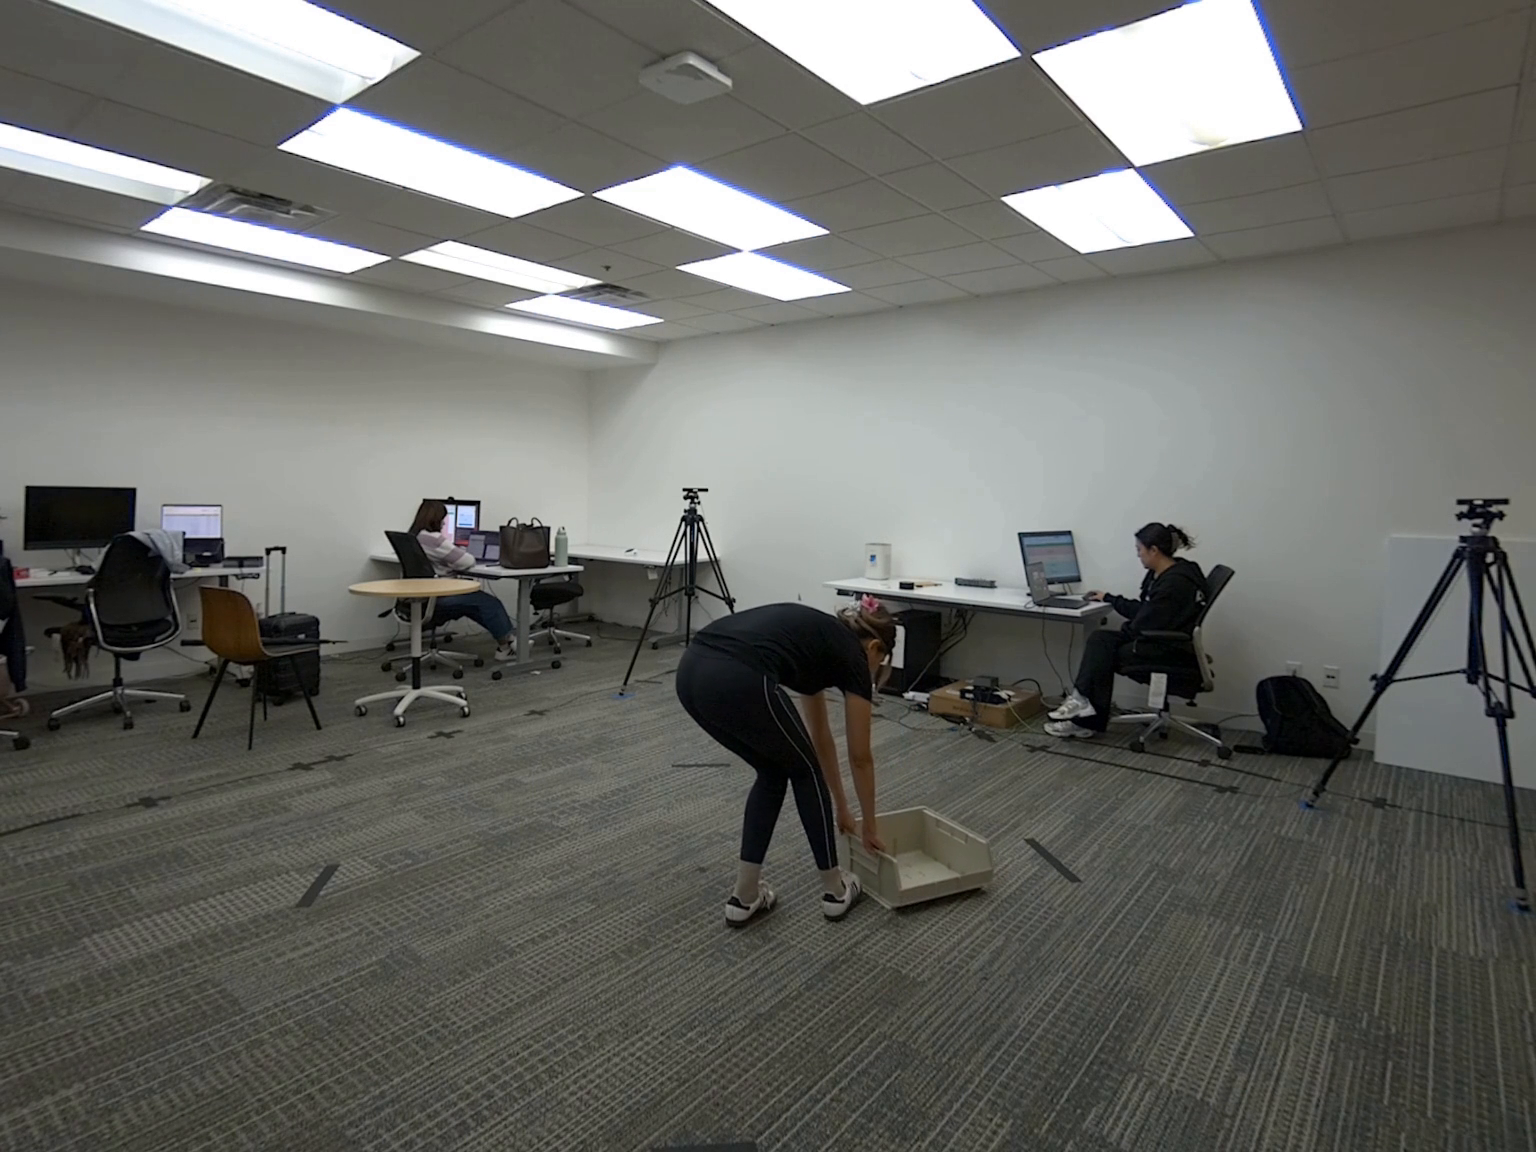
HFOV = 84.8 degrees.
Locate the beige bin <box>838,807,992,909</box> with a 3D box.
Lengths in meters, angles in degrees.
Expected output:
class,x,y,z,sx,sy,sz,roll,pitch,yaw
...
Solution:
class,x,y,z,sx,sy,sz,roll,pitch,yaw
beige bin,0.514,1.002,3.045,0.412,0.188,0.388,-3,6,-29
